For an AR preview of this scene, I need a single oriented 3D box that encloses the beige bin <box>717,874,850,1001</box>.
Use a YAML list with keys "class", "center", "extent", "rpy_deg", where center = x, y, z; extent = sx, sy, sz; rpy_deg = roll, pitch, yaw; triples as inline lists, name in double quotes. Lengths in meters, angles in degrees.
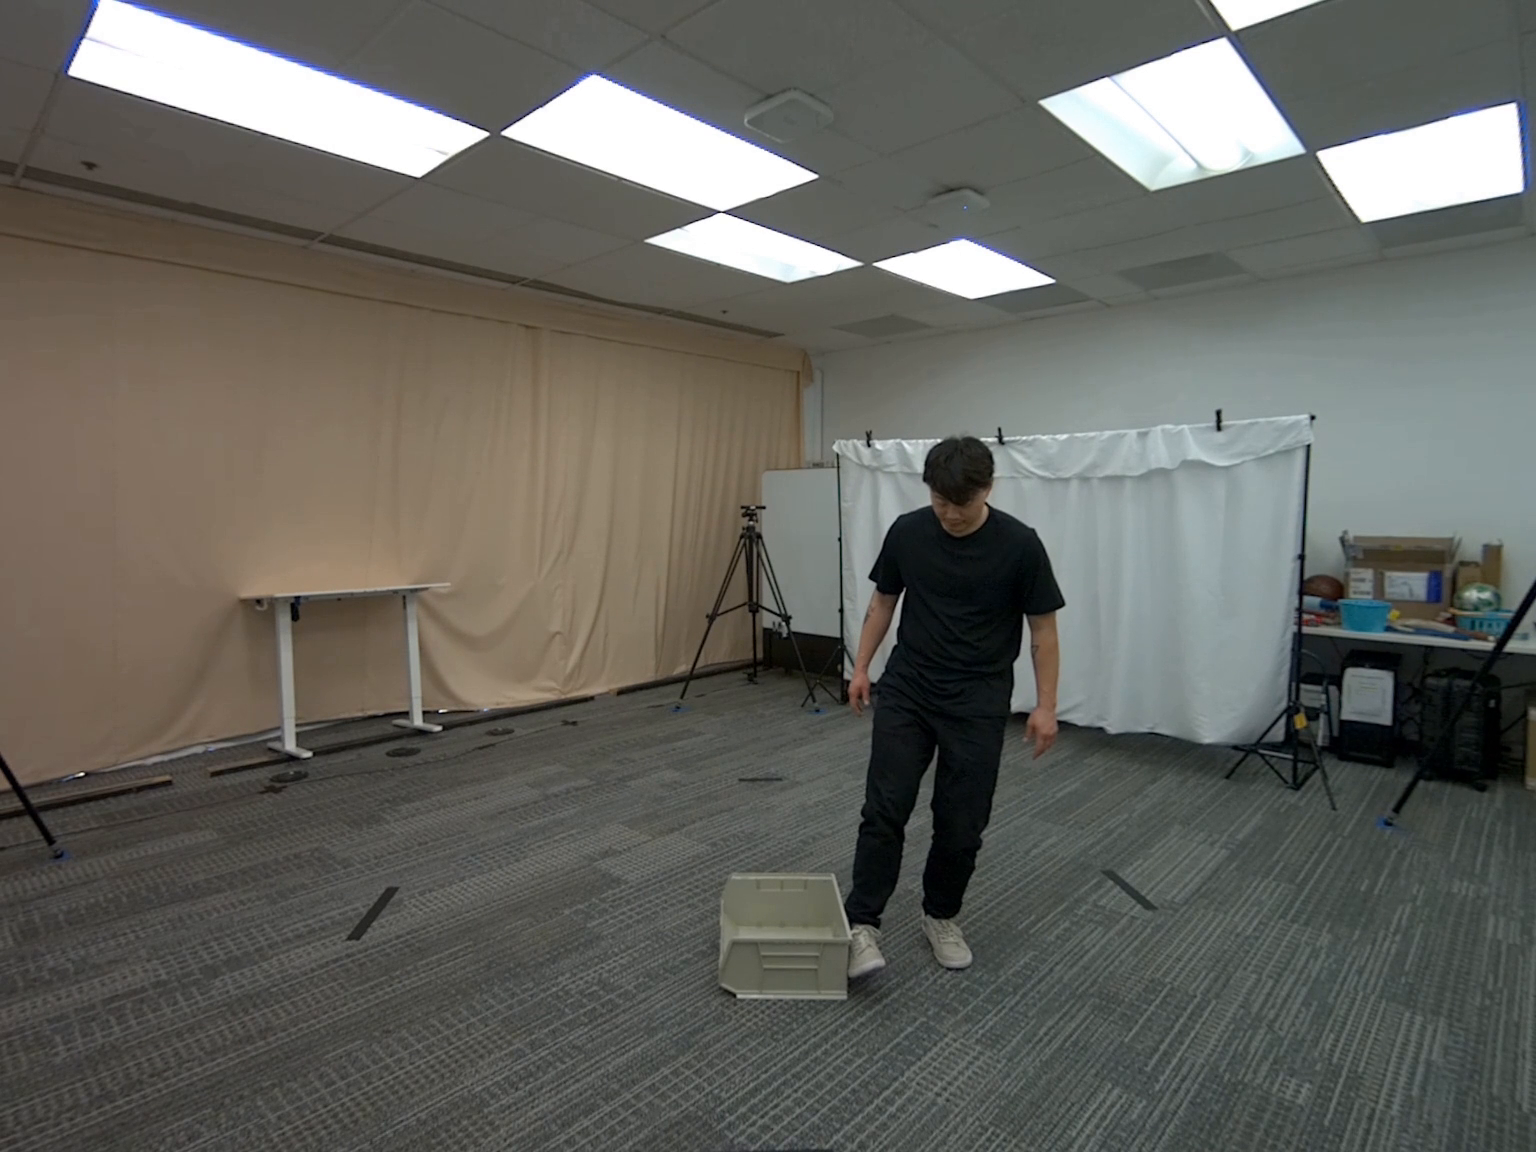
- class: "beige bin"
  center: [0.044, 1.093, 2.570]
  extent: [0.377, 0.189, 0.423]
  rpy_deg: [0, 3, -1]
